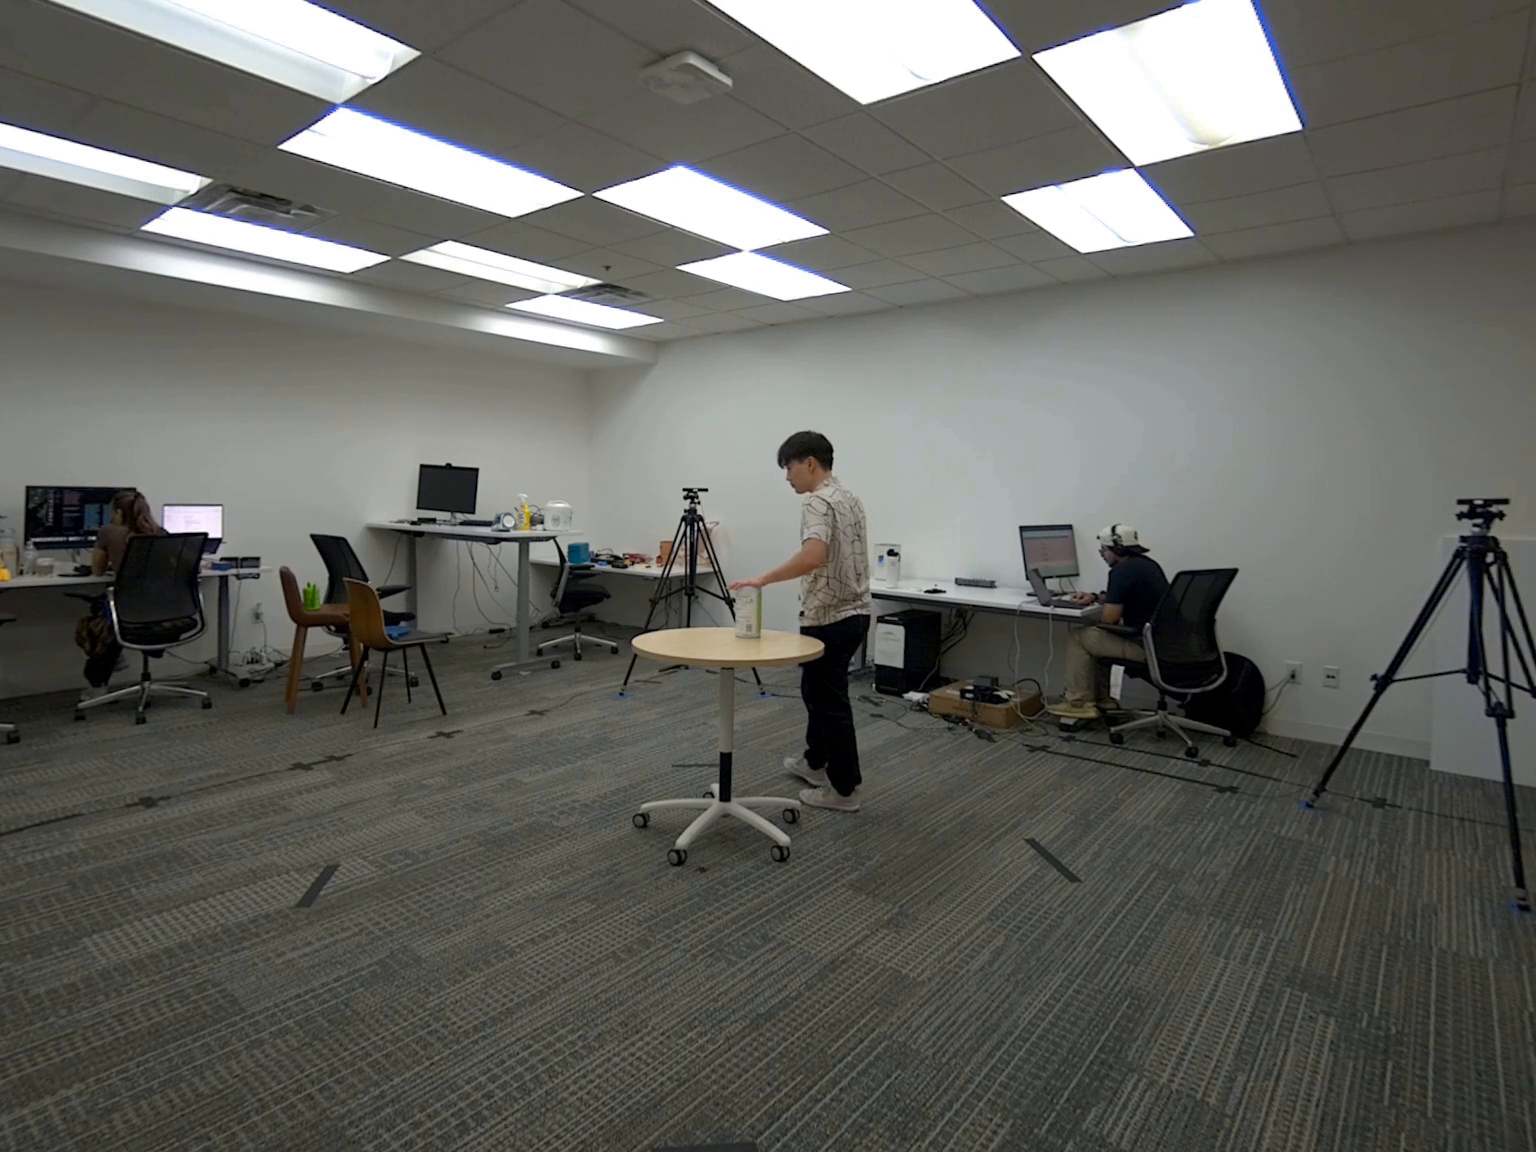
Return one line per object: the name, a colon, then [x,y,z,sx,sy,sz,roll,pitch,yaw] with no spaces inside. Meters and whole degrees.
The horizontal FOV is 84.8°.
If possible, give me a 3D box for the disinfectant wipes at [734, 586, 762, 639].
disinfectant wipes: [-0.090,0.146,3.551,0.118,0.217,0.118,3,0,-2]
